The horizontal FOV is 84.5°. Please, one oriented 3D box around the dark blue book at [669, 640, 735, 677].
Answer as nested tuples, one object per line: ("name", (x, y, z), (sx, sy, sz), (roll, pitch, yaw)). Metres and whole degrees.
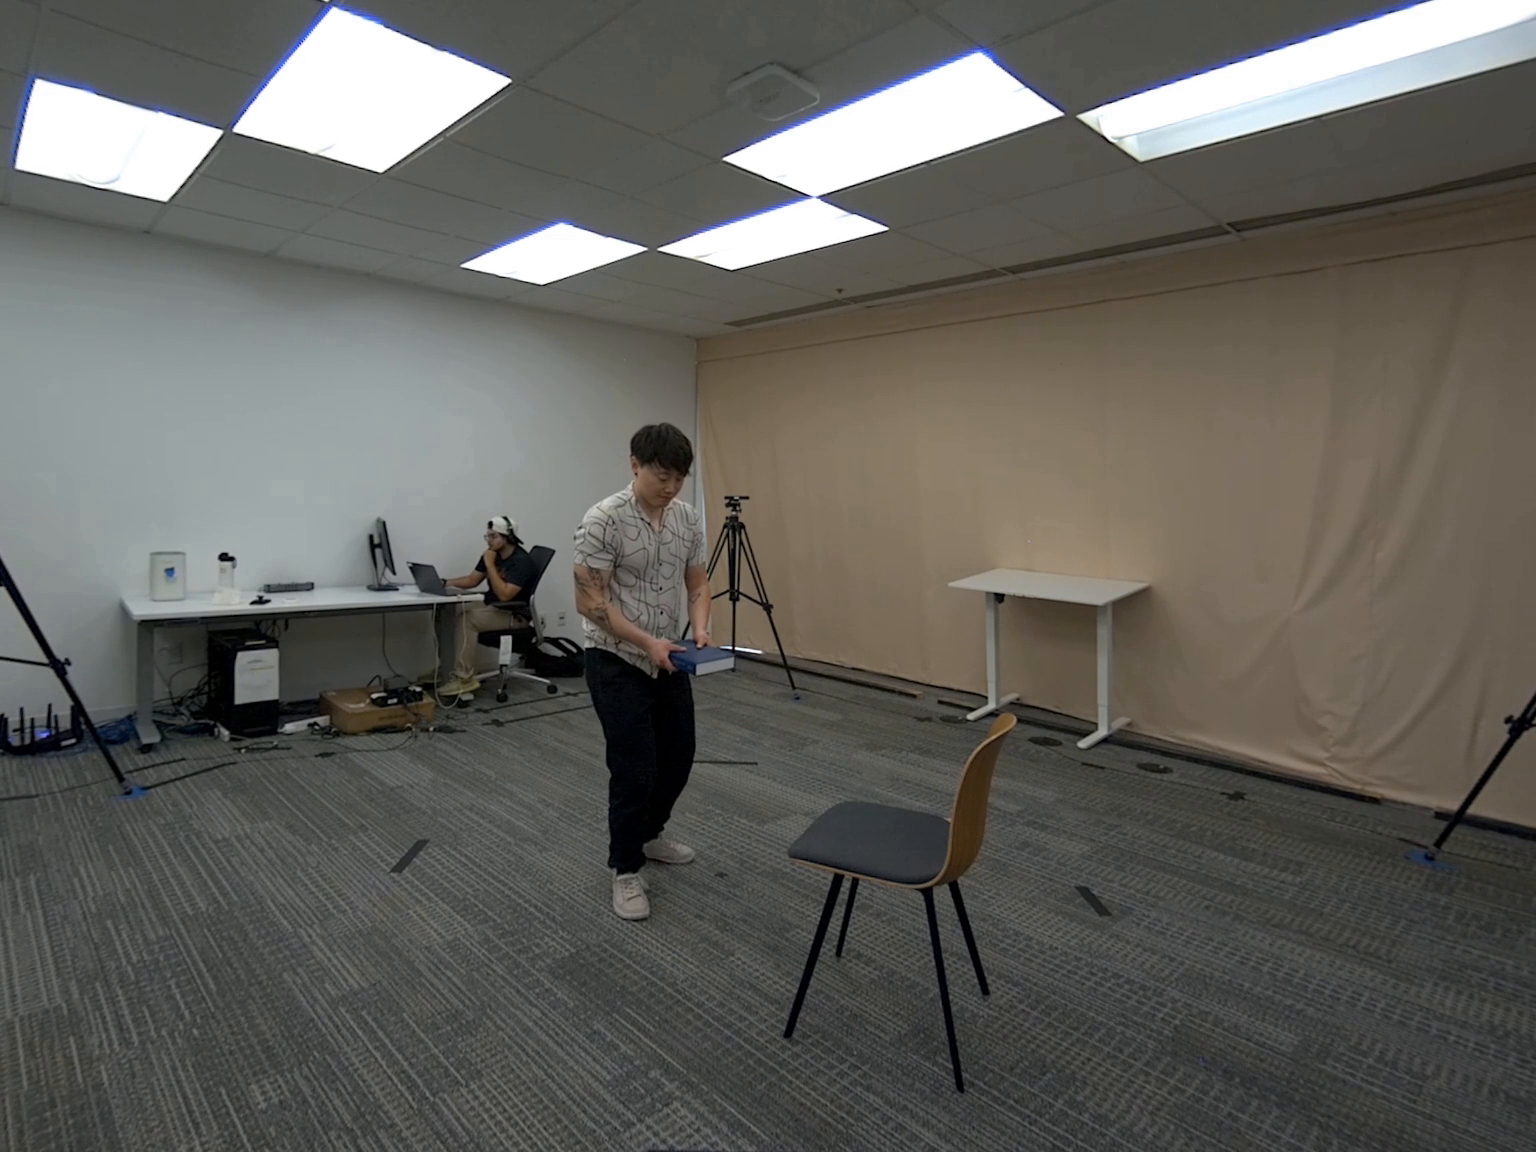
("dark blue book", (-0.259, 0.267, 2.695), (0.160, 0.045, 0.251), (-8, 11, -40))
